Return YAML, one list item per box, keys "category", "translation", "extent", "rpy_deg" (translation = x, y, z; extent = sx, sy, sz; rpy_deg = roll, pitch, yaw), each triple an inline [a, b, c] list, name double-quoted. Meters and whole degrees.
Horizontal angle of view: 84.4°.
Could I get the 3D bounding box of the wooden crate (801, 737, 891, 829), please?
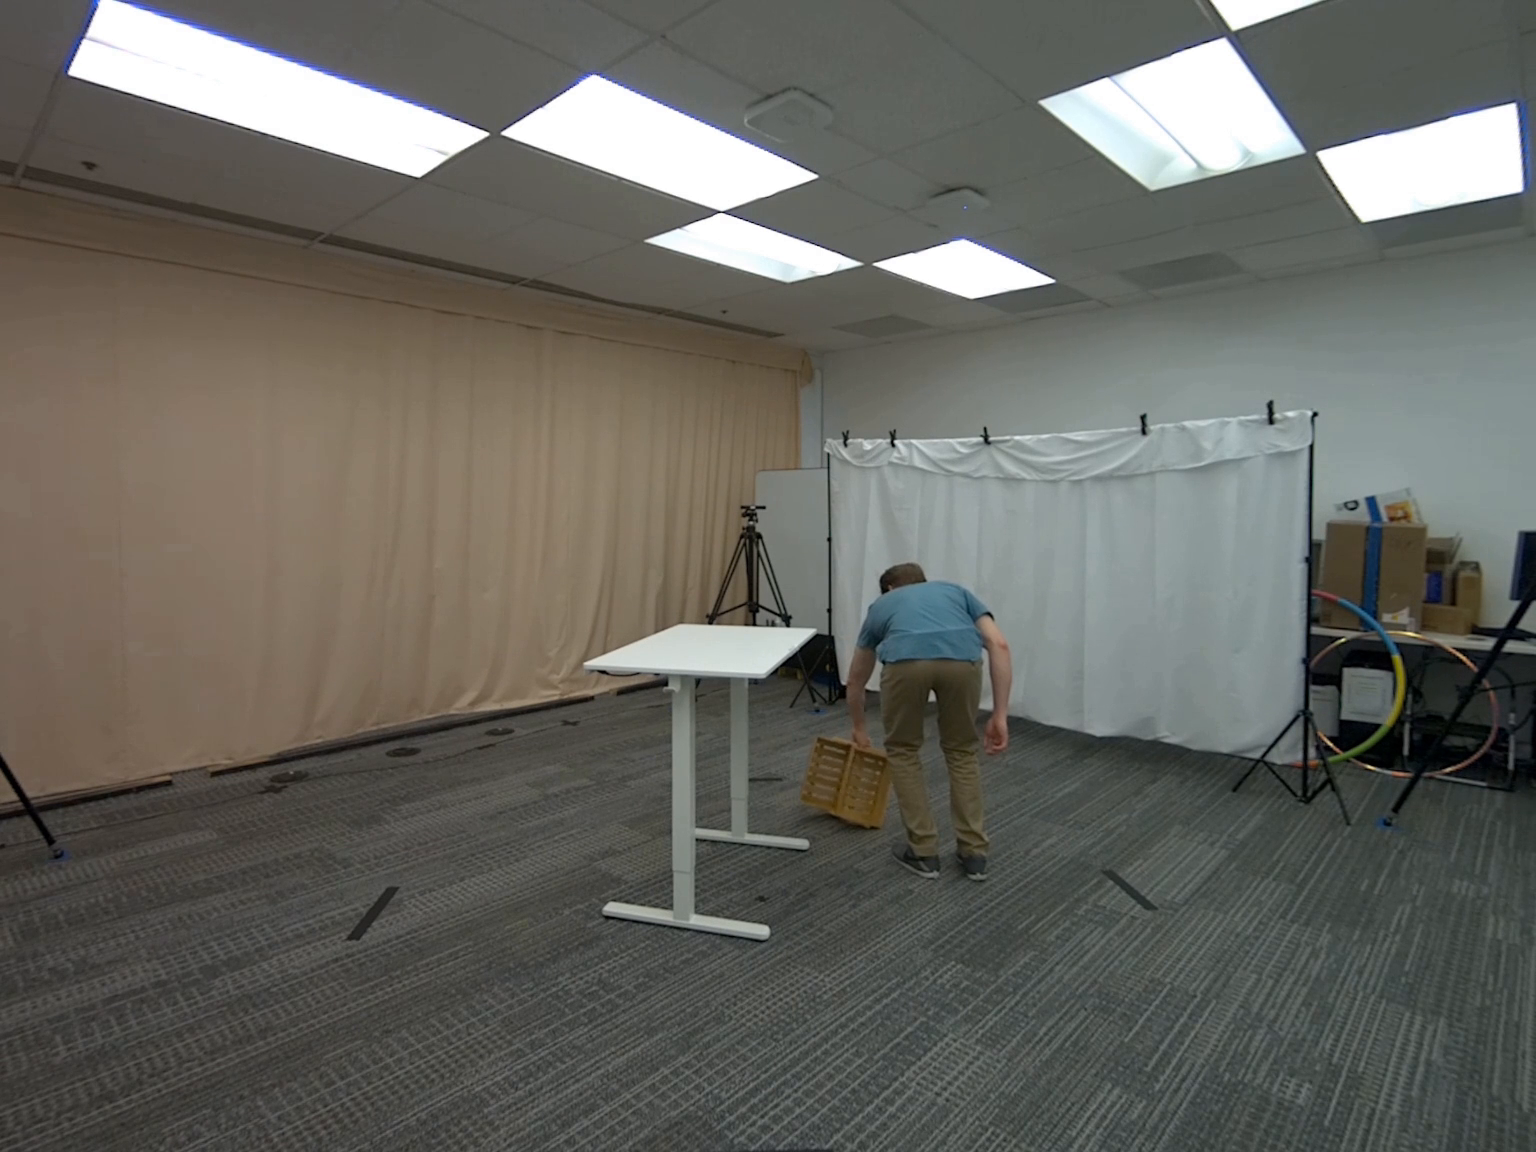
- category: "wooden crate"
  translation: [0.359, 0.899, 3.713]
  extent: [0.294, 0.325, 0.280]
  rpy_deg: [19, -9, -24]
